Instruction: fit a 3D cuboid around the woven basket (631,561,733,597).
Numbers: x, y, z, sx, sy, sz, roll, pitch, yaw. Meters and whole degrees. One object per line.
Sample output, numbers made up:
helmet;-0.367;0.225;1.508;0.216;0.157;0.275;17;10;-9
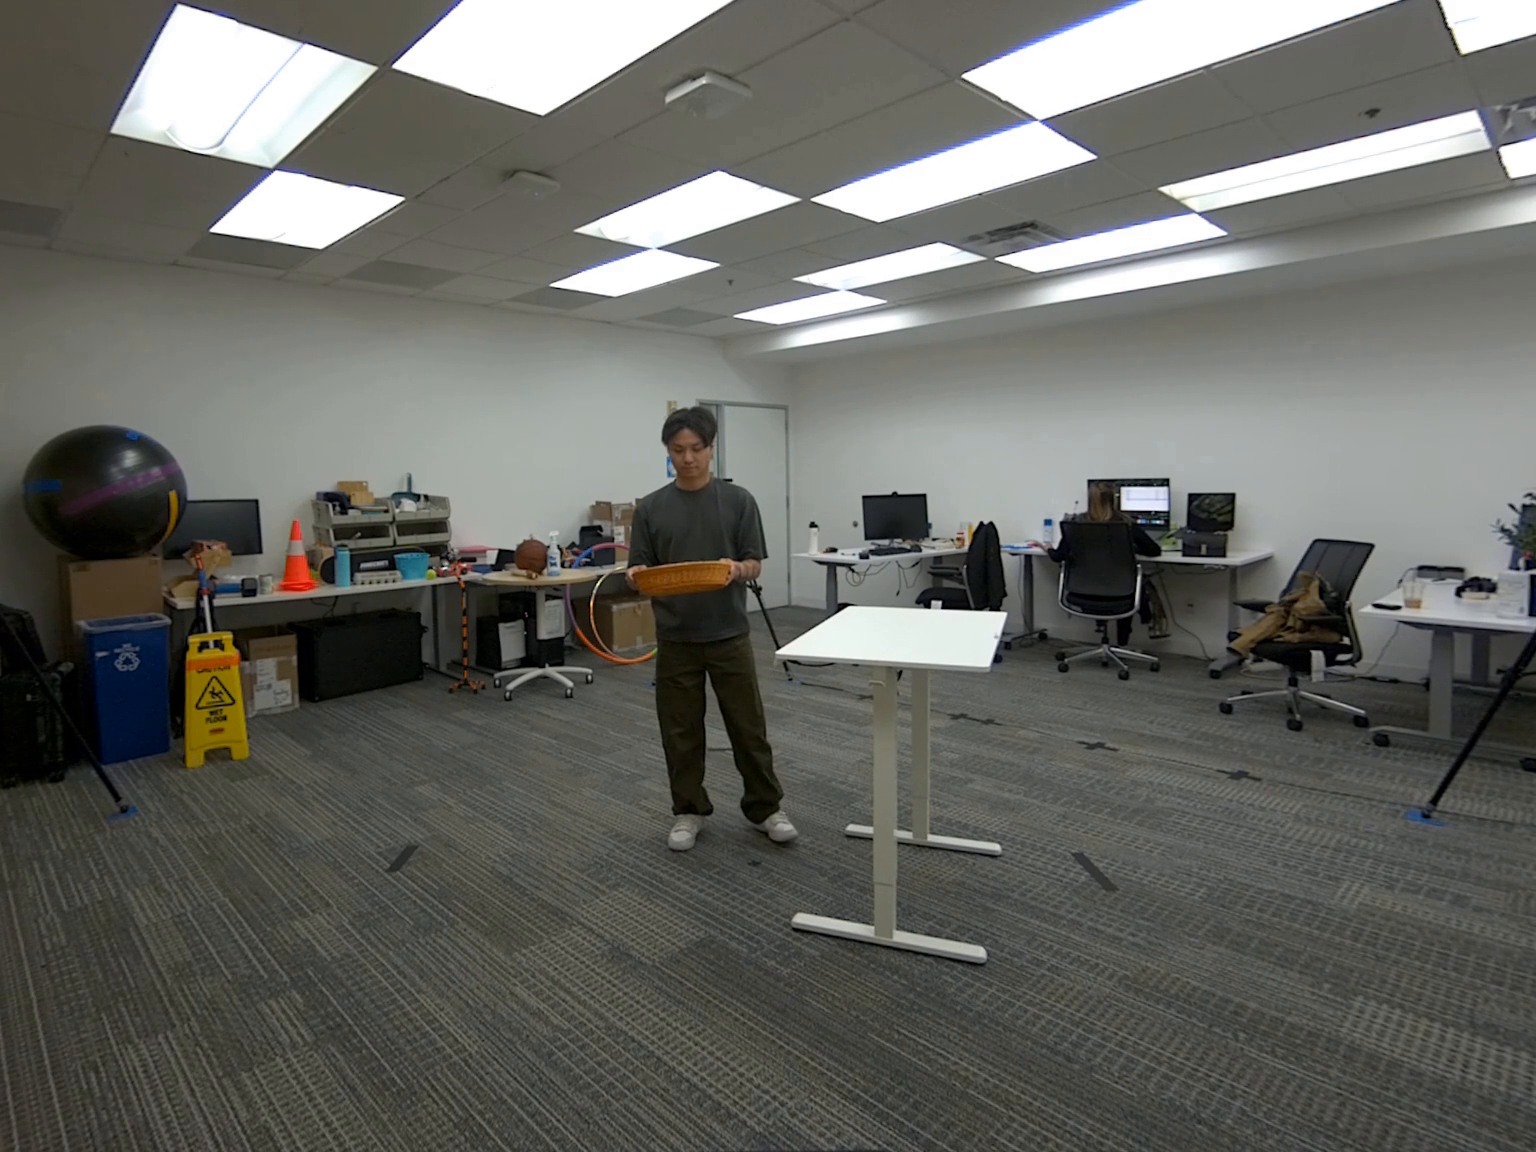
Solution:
woven basket;-0.302;0.016;2.919;0.349;0.074;0.251;-4;-7;-5
